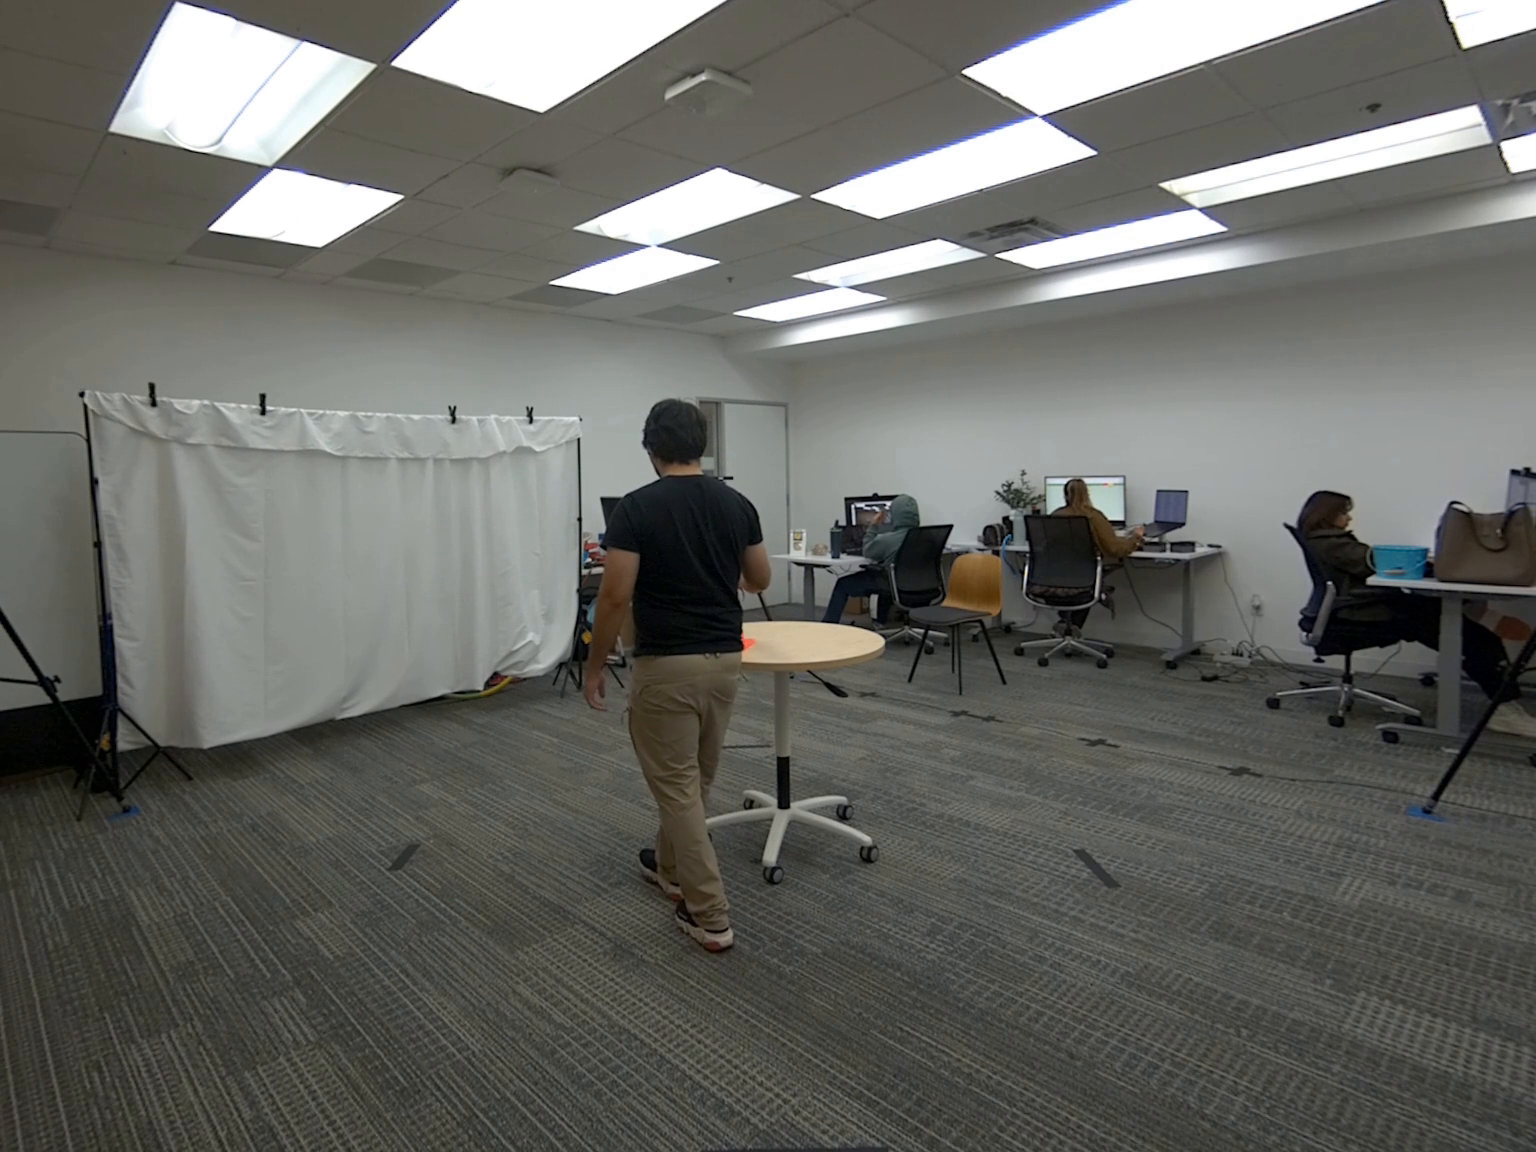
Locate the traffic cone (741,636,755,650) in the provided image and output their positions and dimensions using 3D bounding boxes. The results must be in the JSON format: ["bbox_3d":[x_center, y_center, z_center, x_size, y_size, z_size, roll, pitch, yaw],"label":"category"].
[{"bbox_3d":[-0.158,0.055,3.114,0.206,0.382,0.203,0,6,13],"label":"traffic cone"}]
